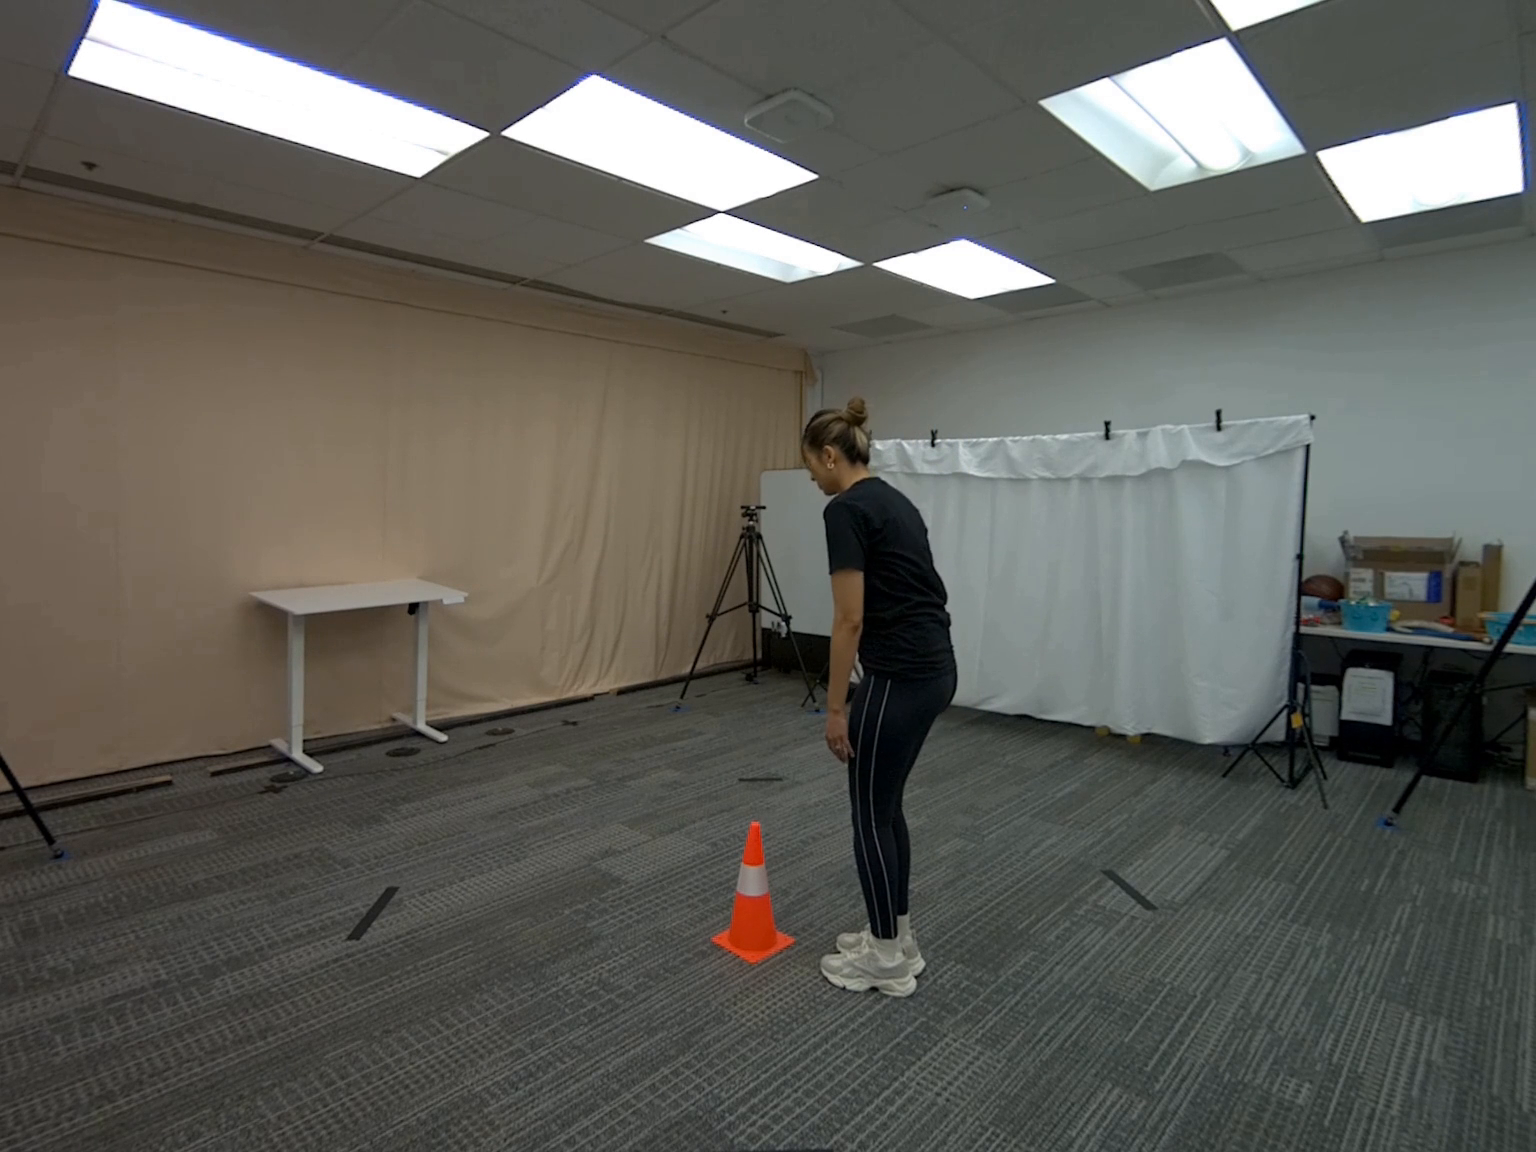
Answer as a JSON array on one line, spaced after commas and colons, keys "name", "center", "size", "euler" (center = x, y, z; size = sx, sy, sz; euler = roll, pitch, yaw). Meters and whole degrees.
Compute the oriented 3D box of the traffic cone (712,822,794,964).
[{"name": "traffic cone", "center": [-0.050, 0.988, 2.682], "size": [0.210, 0.383, 0.199], "euler": [2, 4, 40]}]
